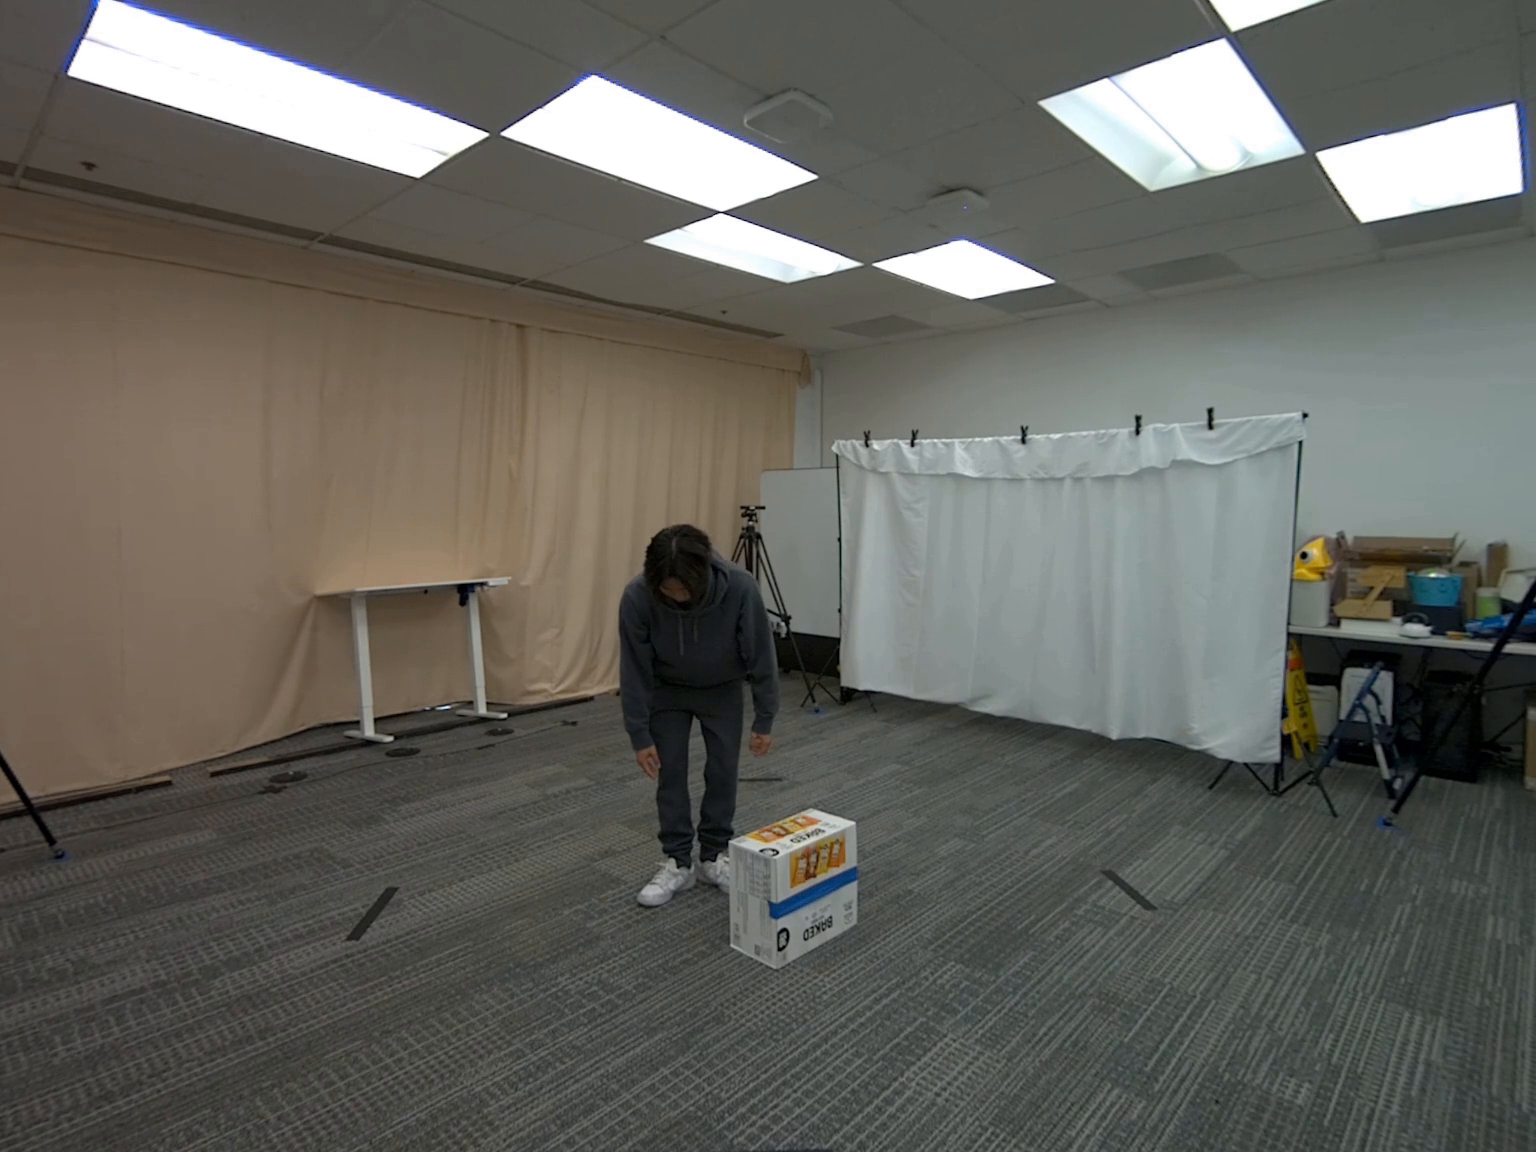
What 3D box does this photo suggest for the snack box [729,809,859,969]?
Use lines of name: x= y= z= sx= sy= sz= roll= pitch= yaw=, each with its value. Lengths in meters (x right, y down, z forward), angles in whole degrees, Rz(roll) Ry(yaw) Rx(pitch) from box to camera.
snack box: x=0.092 y=0.999 z=2.724 sx=0.212 sy=0.340 sz=0.393 roll=1 pitch=3 yaw=45
